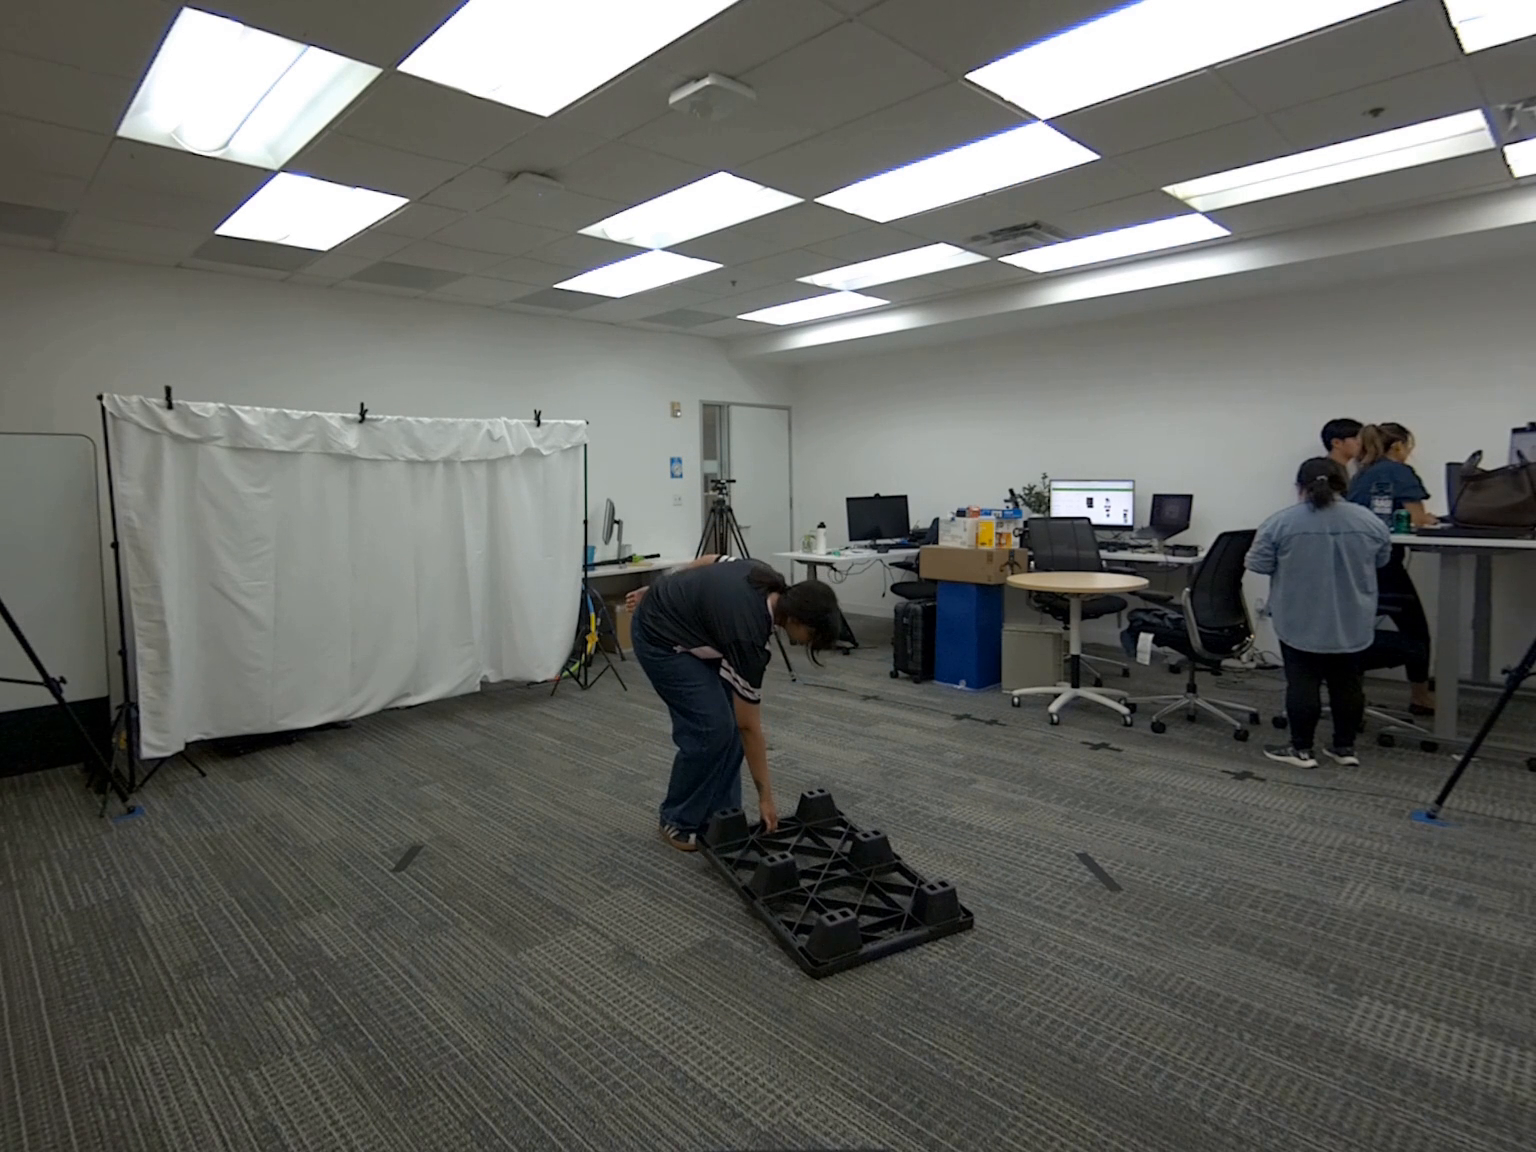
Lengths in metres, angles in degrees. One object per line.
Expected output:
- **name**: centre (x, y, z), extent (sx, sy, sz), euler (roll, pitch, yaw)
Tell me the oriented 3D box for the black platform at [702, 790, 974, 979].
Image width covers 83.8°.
- **black platform**: centre (0.187, 0.964, 2.849), extent (0.591, 0.142, 0.831), euler (-4, 13, -29)
